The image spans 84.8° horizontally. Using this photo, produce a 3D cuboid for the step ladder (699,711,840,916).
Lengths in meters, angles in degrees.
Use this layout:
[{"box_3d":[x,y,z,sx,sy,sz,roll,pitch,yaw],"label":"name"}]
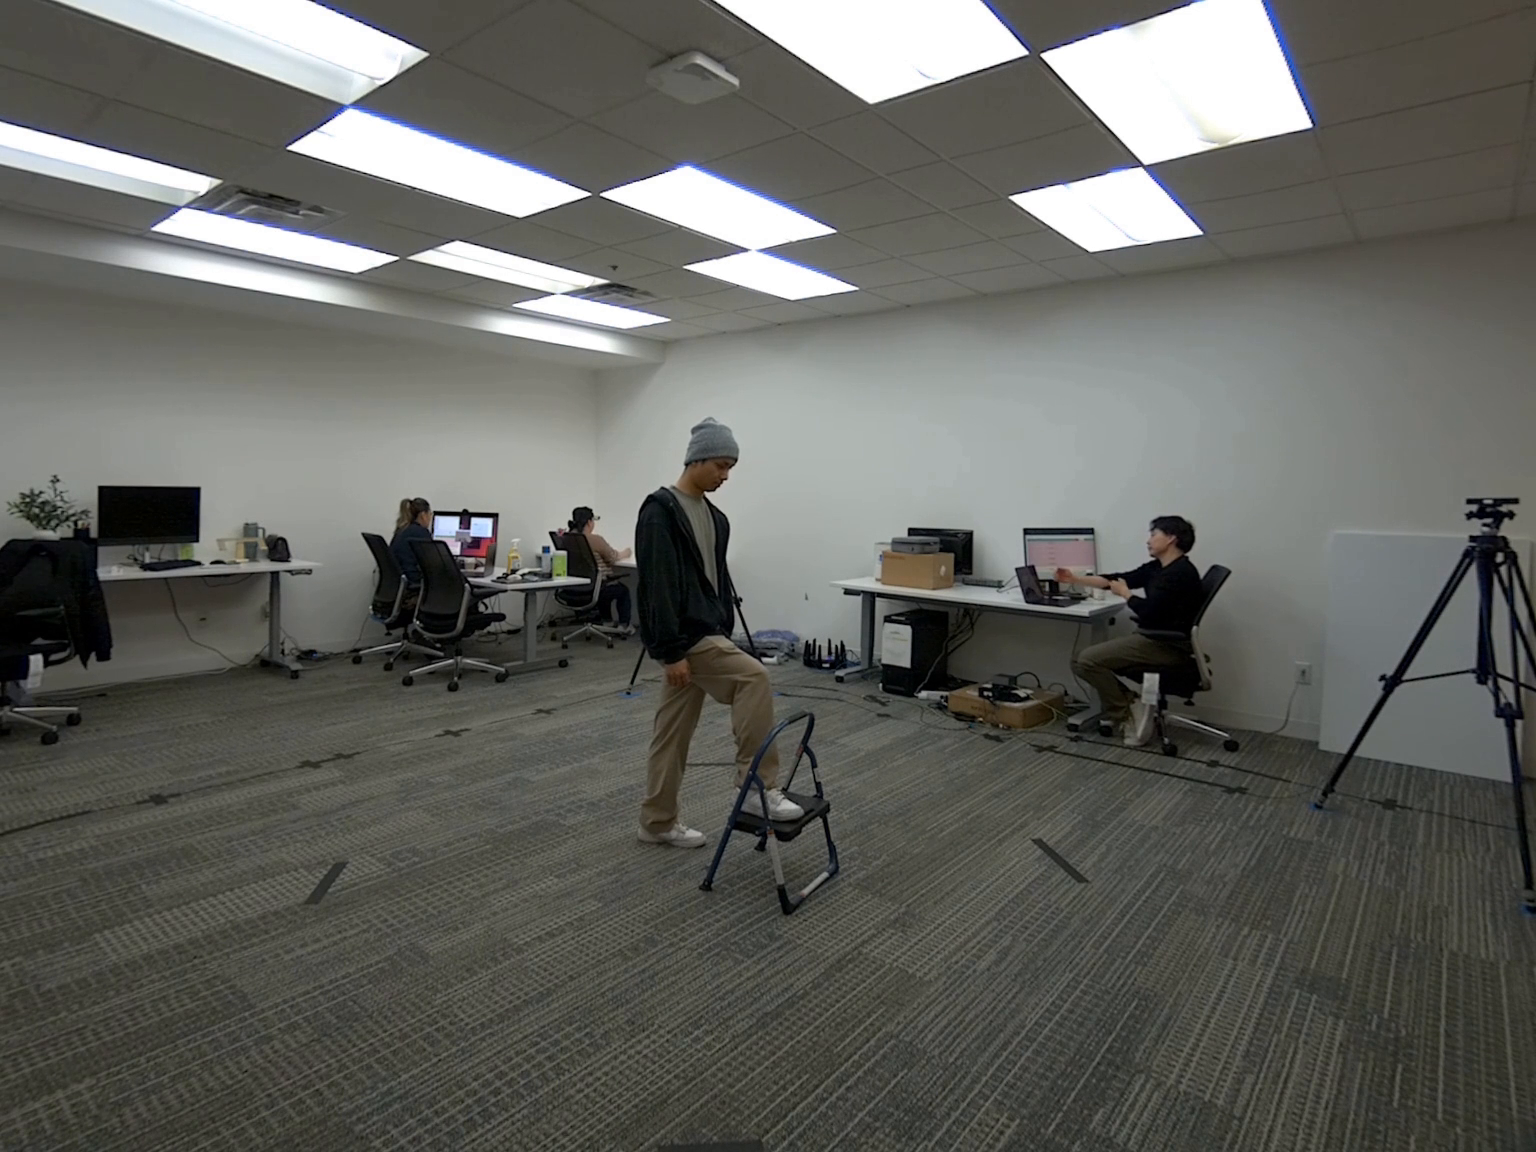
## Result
[{"box_3d":[0.016,0.777,3.016,0.359,0.604,0.420,3,4,29],"label":"step ladder"}]
